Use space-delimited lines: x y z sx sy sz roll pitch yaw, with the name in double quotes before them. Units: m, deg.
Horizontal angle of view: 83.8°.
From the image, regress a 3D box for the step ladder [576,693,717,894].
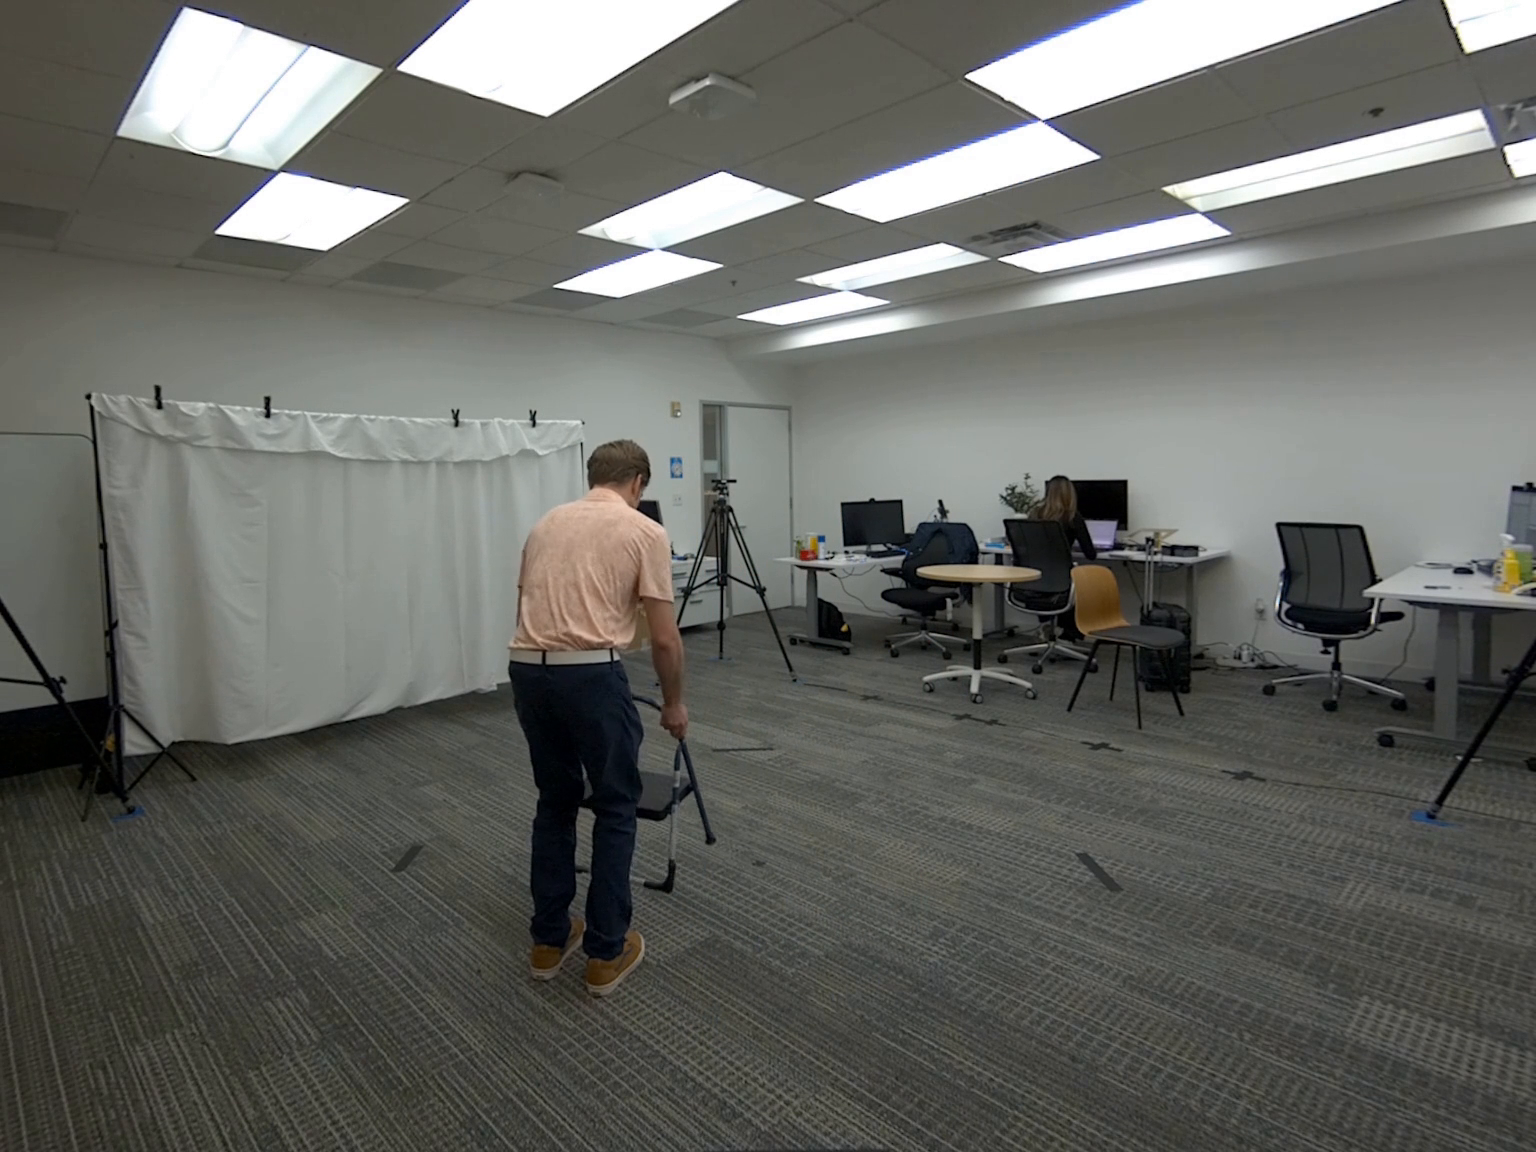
"step ladder" -0.446 0.643 2.813 0.440 0.600 0.345 2 12 22
